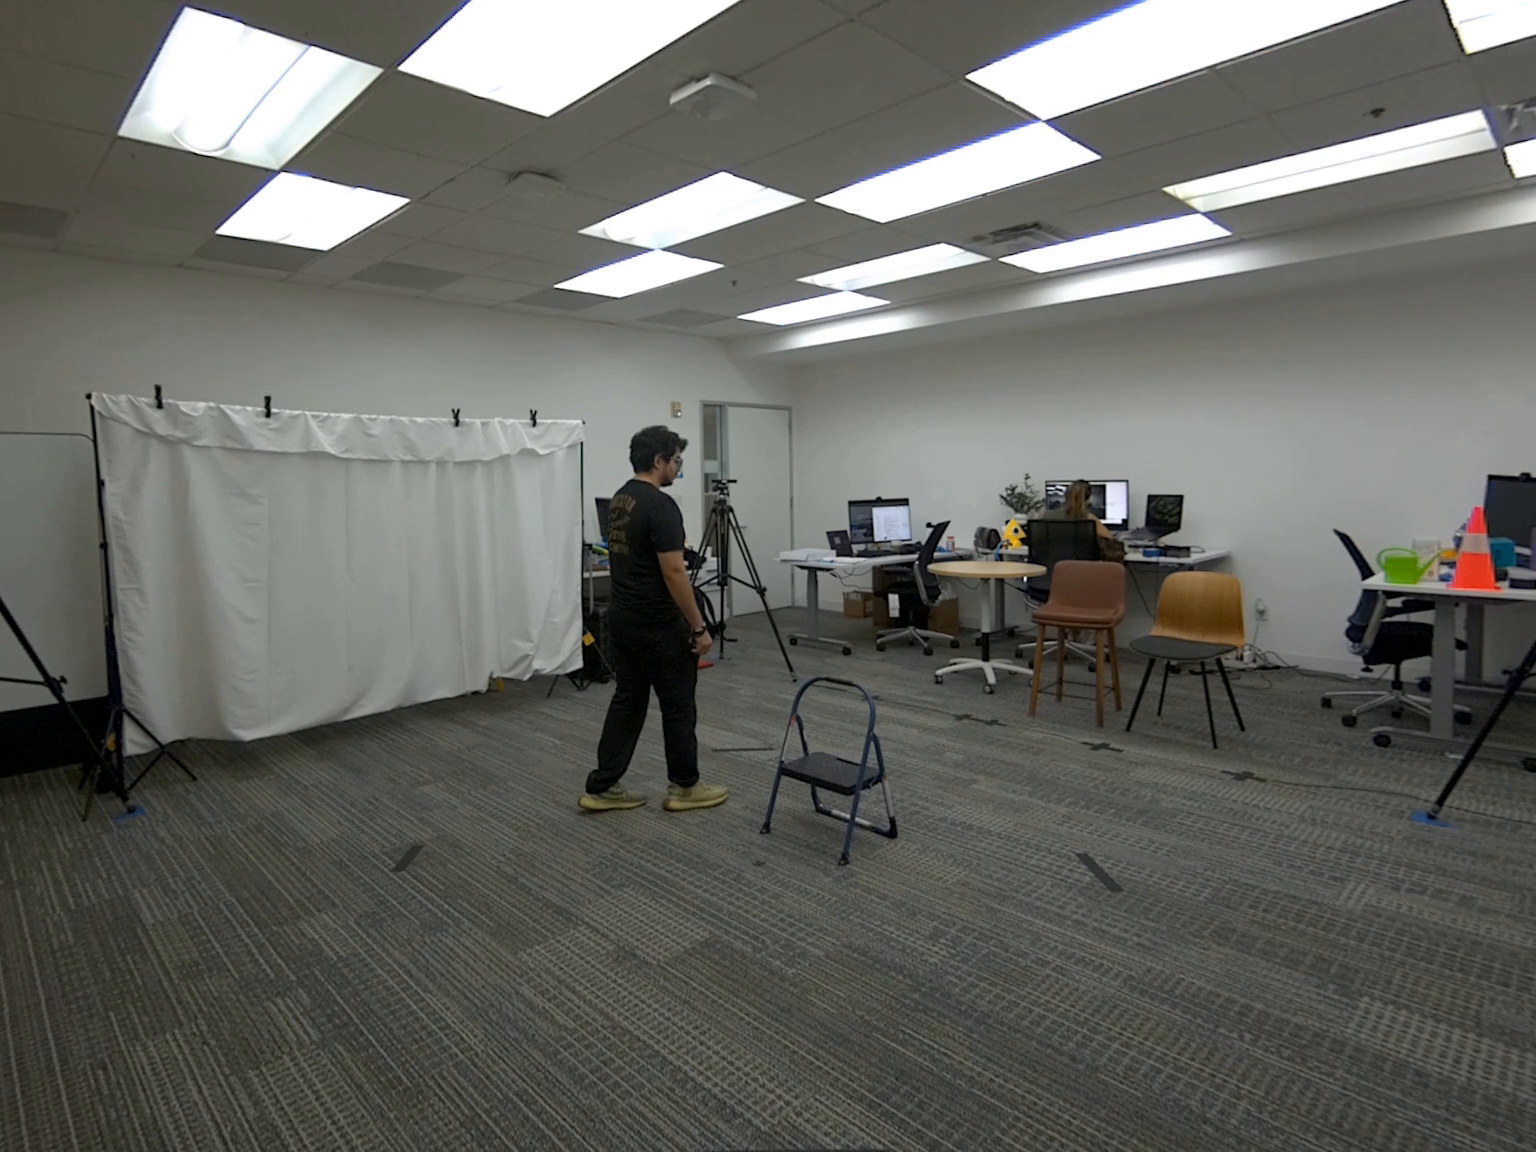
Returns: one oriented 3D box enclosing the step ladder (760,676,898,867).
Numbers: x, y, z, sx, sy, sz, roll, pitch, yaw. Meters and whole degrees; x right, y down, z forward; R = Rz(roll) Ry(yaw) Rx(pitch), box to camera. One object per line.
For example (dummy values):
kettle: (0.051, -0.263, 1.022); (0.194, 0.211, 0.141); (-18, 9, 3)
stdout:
step ladder: (0.238, 0.713, 3.330); (0.340, 0.604, 0.444); (-5, 6, -44)
